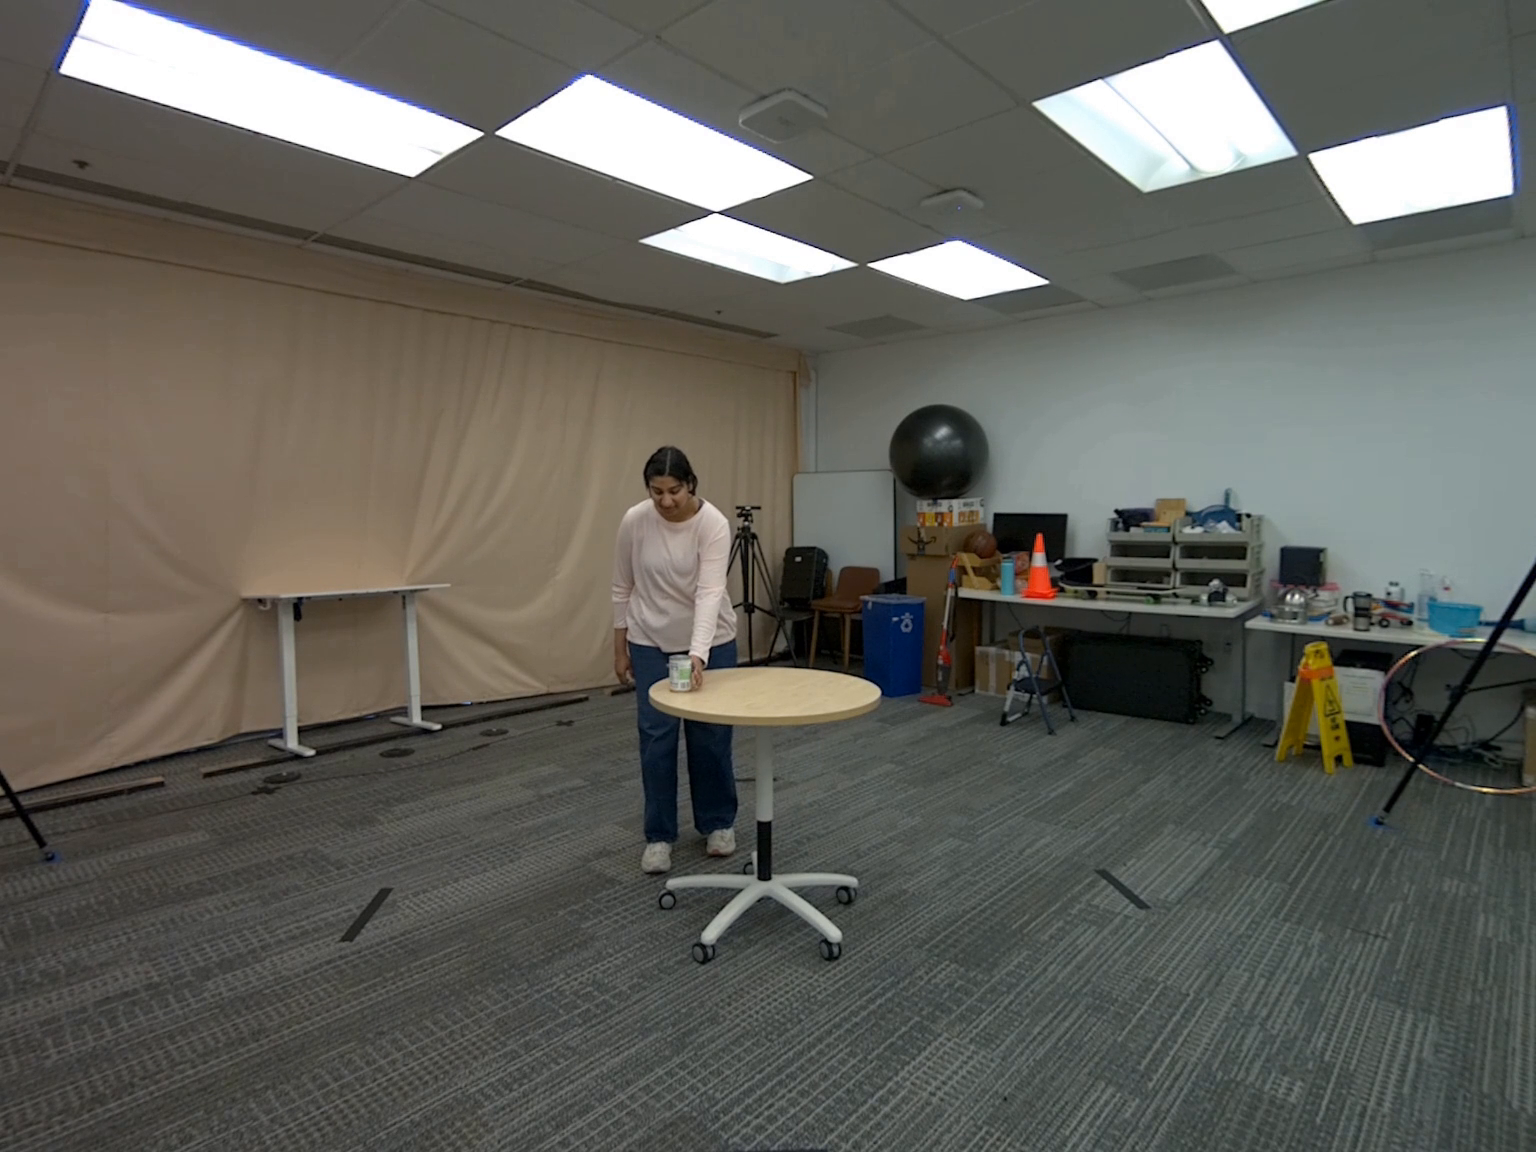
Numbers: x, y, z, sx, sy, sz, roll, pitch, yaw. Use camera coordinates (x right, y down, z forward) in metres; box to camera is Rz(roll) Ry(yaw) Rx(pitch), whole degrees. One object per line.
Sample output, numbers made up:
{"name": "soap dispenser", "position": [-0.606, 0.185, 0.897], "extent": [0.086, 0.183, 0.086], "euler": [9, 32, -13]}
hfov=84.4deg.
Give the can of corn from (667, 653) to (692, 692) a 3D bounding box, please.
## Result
{"name": "can of corn", "position": [-0.281, 0.321, 2.782], "extent": [0.074, 0.111, 0.074], "euler": [1, 3, -2]}
